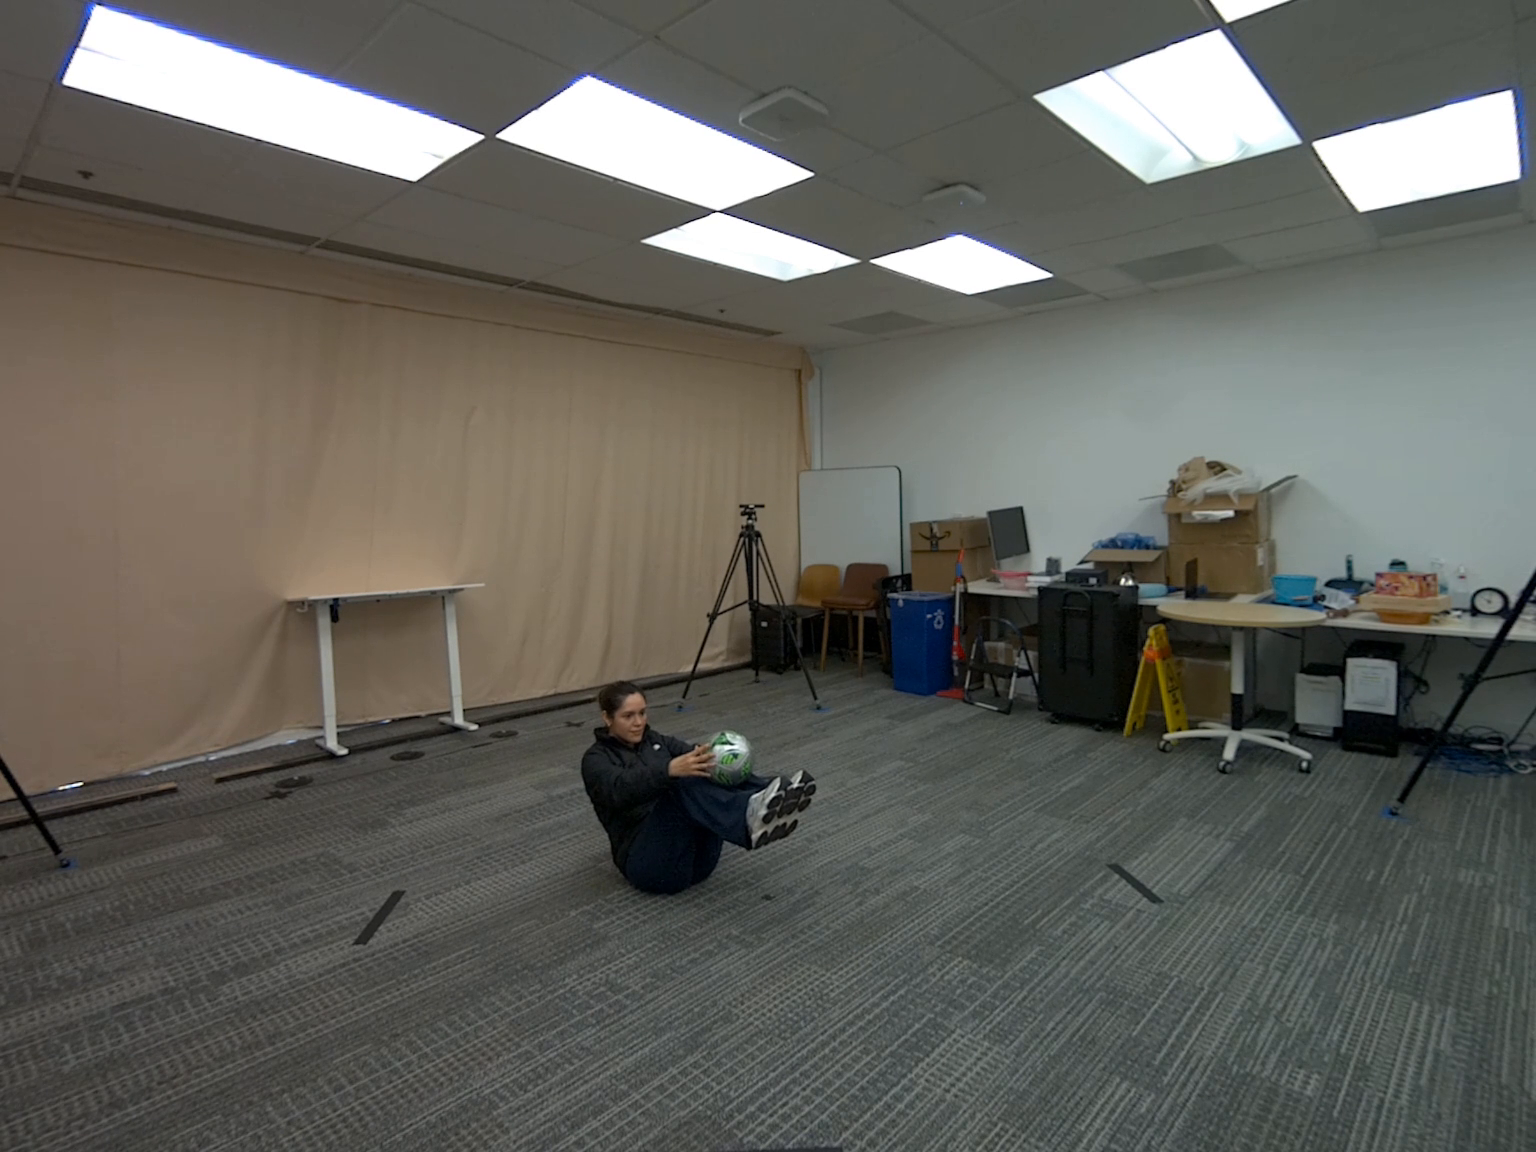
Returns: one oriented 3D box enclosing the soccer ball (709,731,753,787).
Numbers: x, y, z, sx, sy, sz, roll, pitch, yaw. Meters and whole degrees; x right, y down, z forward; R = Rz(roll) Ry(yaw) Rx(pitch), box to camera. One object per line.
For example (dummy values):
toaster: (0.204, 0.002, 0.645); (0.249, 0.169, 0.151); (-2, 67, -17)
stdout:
soccer ball: (-0.136, 0.623, 2.849); (0.187, 0.187, 0.188); (2, 5, -2)
